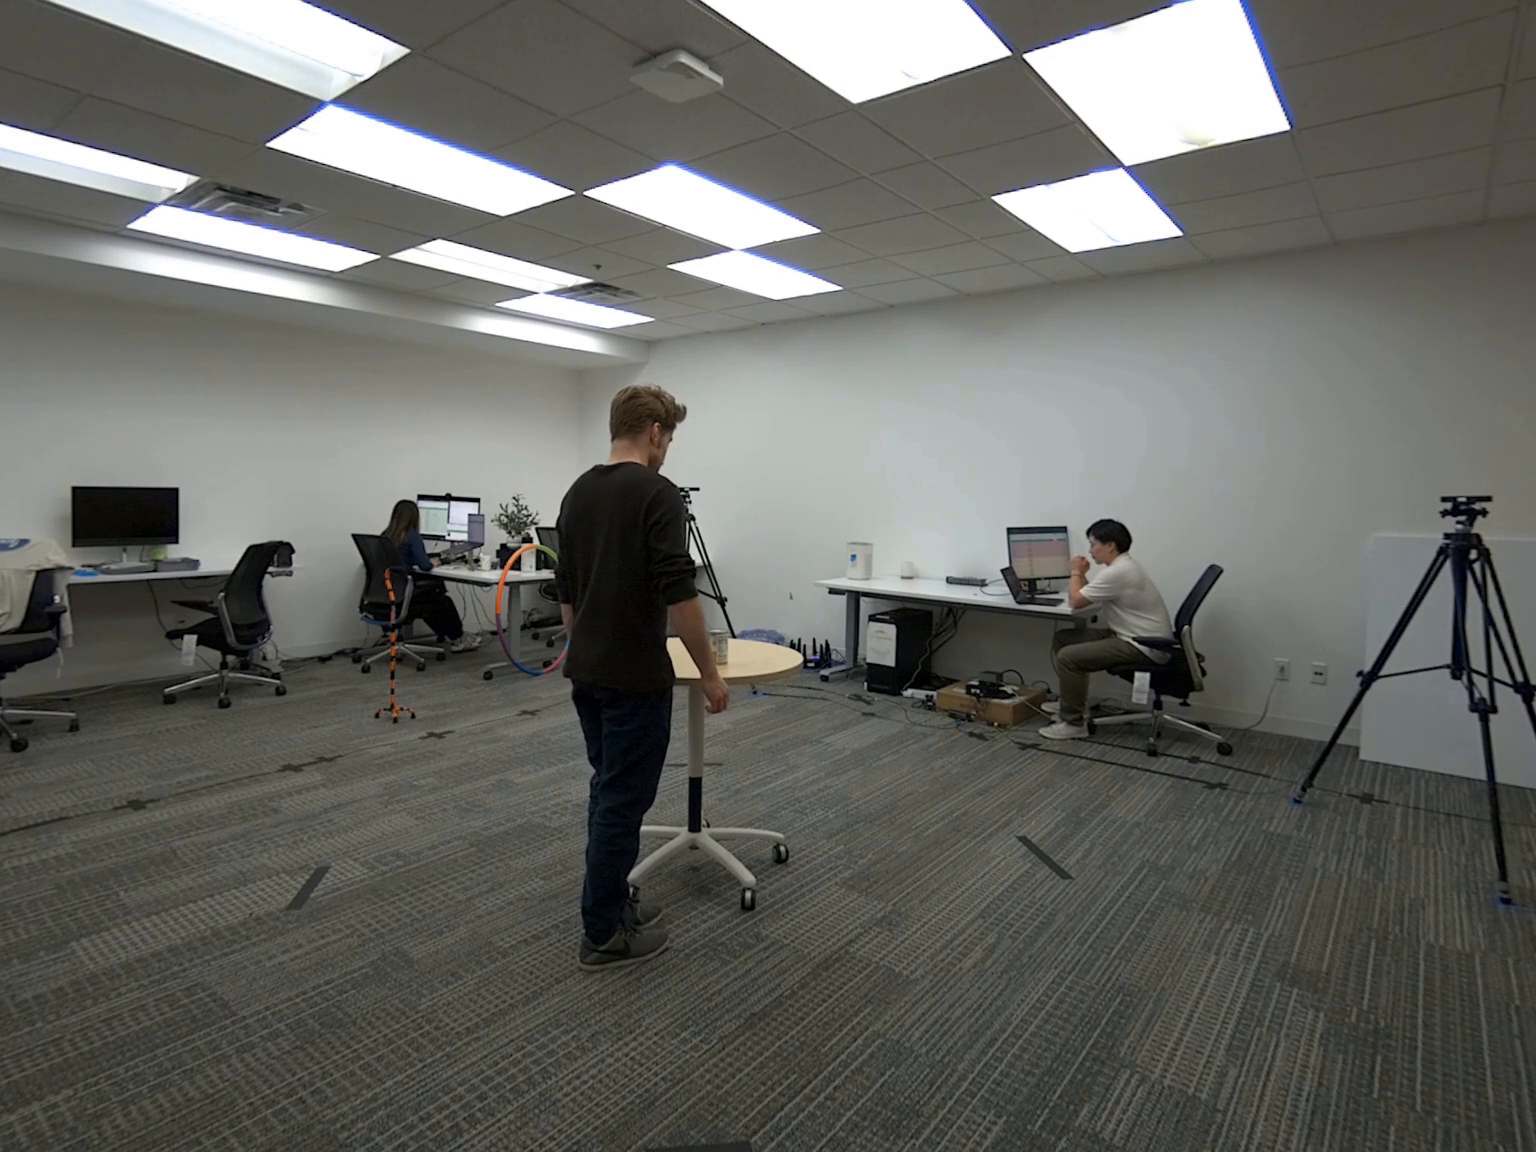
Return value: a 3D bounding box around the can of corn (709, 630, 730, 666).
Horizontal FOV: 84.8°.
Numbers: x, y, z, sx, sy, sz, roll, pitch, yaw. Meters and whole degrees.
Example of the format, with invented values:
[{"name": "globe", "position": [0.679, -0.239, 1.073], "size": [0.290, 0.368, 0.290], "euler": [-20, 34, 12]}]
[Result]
[{"name": "can of corn", "position": [-0.179, 0.246, 2.934], "size": [0.074, 0.110, 0.074], "euler": [3, 4, -2]}]
